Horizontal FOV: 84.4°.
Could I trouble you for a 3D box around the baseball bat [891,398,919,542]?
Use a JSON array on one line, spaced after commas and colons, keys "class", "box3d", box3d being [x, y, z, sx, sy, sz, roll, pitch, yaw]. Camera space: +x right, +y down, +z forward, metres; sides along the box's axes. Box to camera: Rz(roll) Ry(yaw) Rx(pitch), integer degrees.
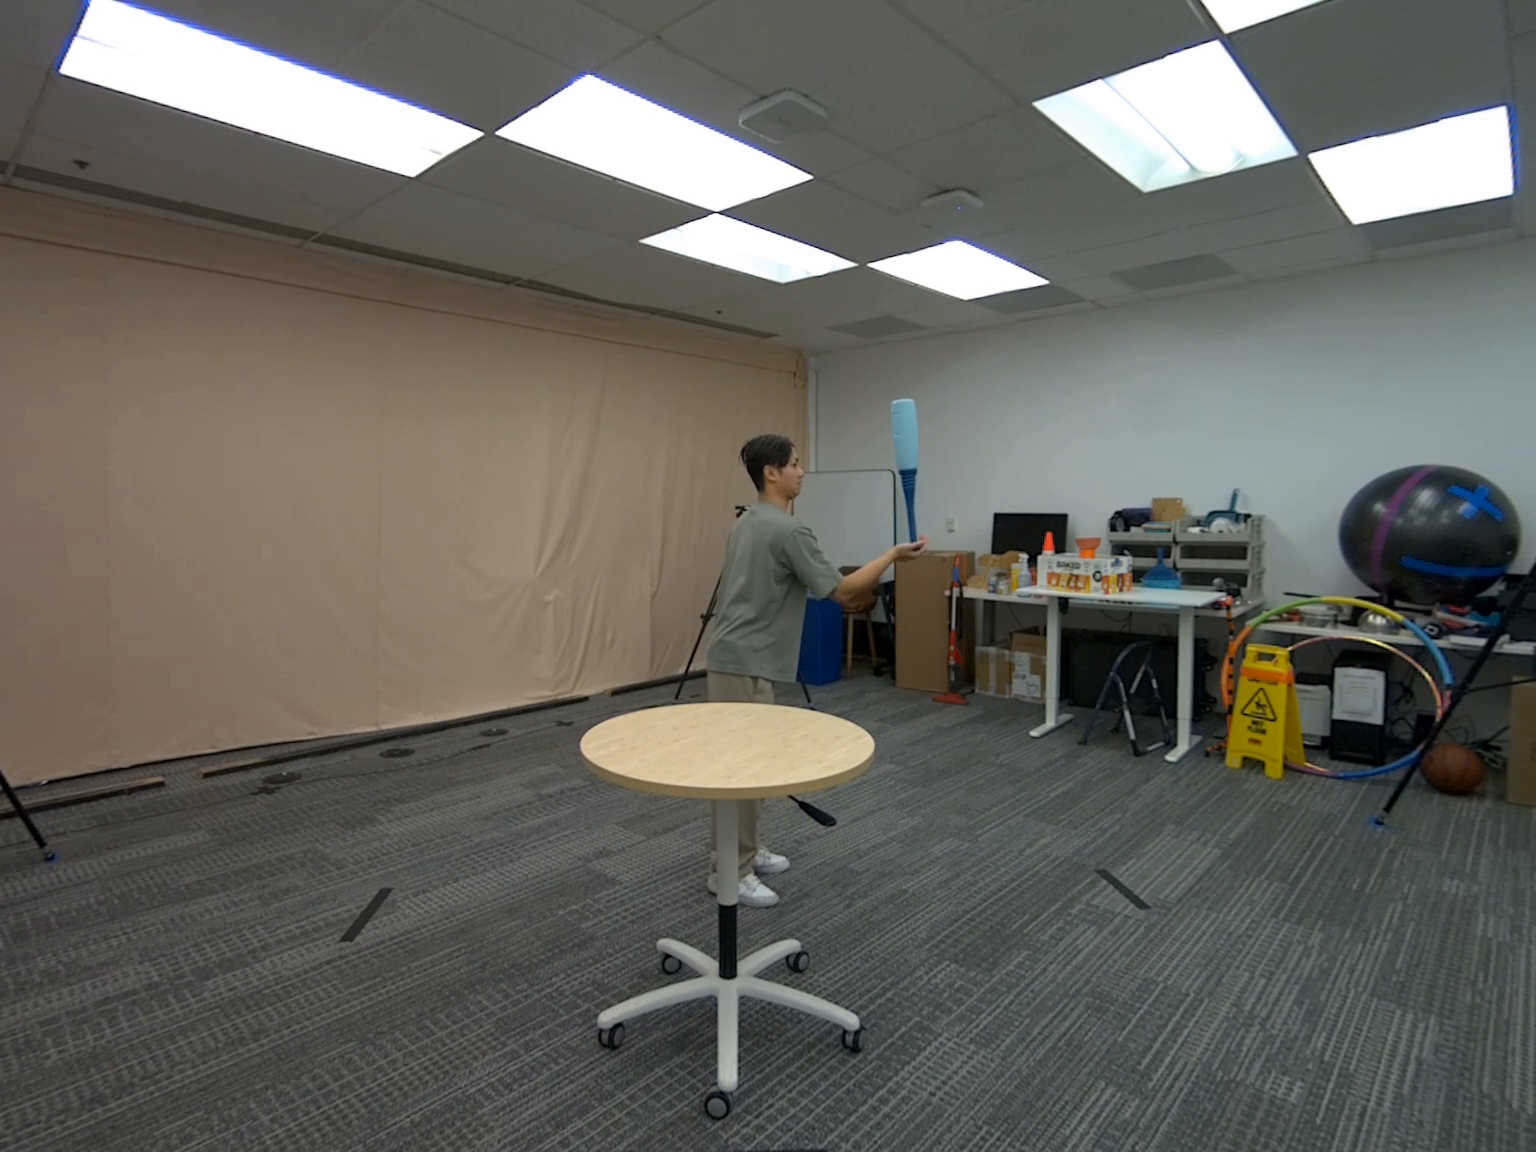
[{"class": "baseball bat", "box3d": [0.510, -0.364, 3.025, 0.089, 0.542, 0.089, -5, 2, -2]}]
